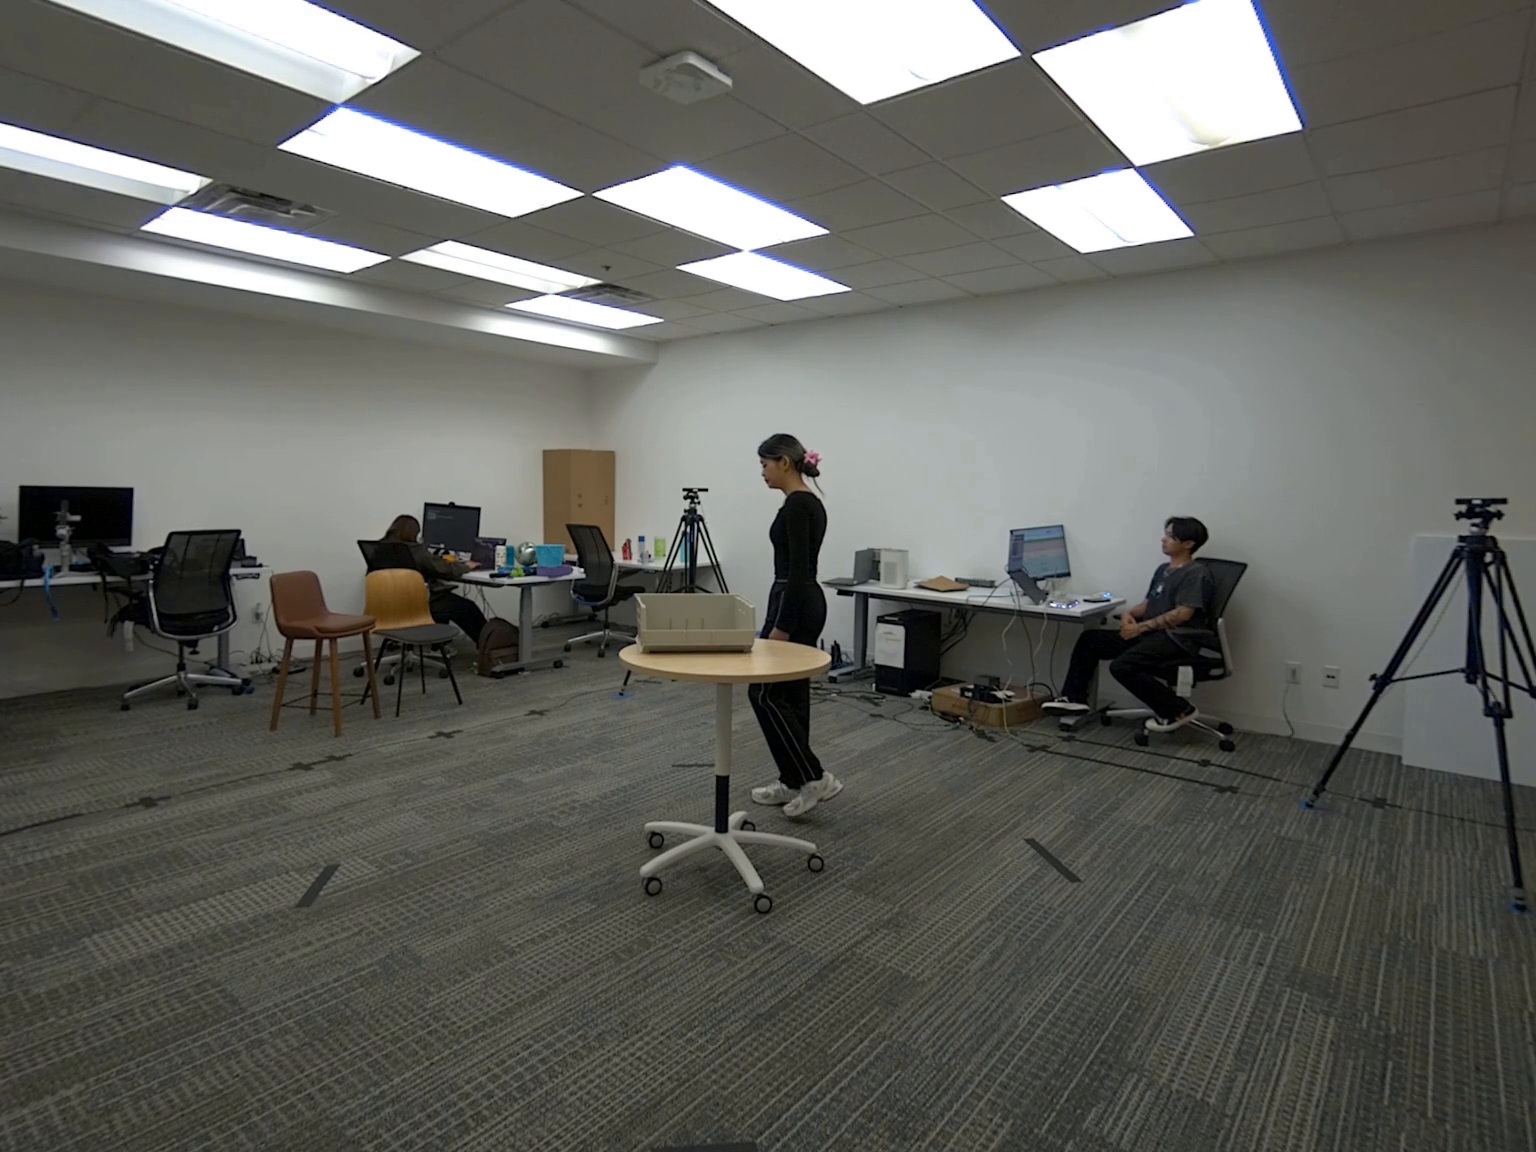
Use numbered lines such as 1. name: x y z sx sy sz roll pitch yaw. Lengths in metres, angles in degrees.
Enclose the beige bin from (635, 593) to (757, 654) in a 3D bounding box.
1. beige bin: -0.293 0.176 3.230 0.418 0.188 0.382 0 4 -11
